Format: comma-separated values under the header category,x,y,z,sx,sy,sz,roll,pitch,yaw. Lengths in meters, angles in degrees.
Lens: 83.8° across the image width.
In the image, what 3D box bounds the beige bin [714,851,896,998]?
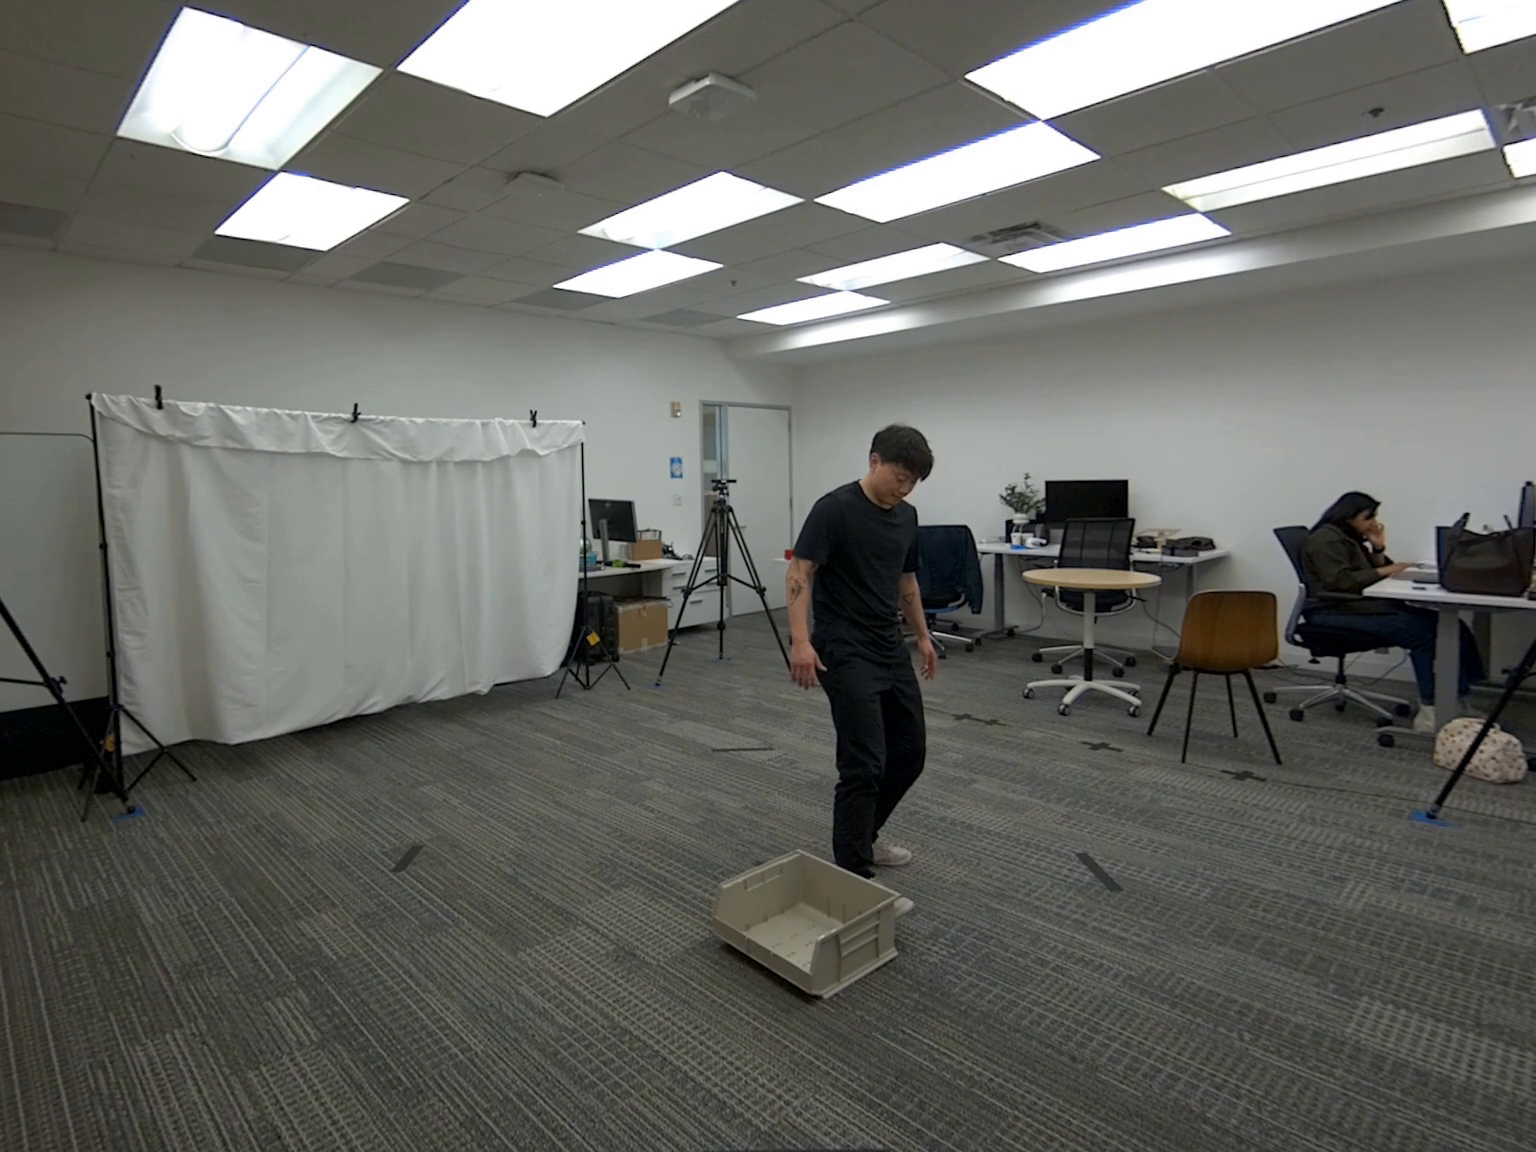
category,x,y,z,sx,sy,sz,roll,pitch,yaw
beige bin,0.115,1.024,2.526,0.367,0.188,0.435,-6,7,-42
